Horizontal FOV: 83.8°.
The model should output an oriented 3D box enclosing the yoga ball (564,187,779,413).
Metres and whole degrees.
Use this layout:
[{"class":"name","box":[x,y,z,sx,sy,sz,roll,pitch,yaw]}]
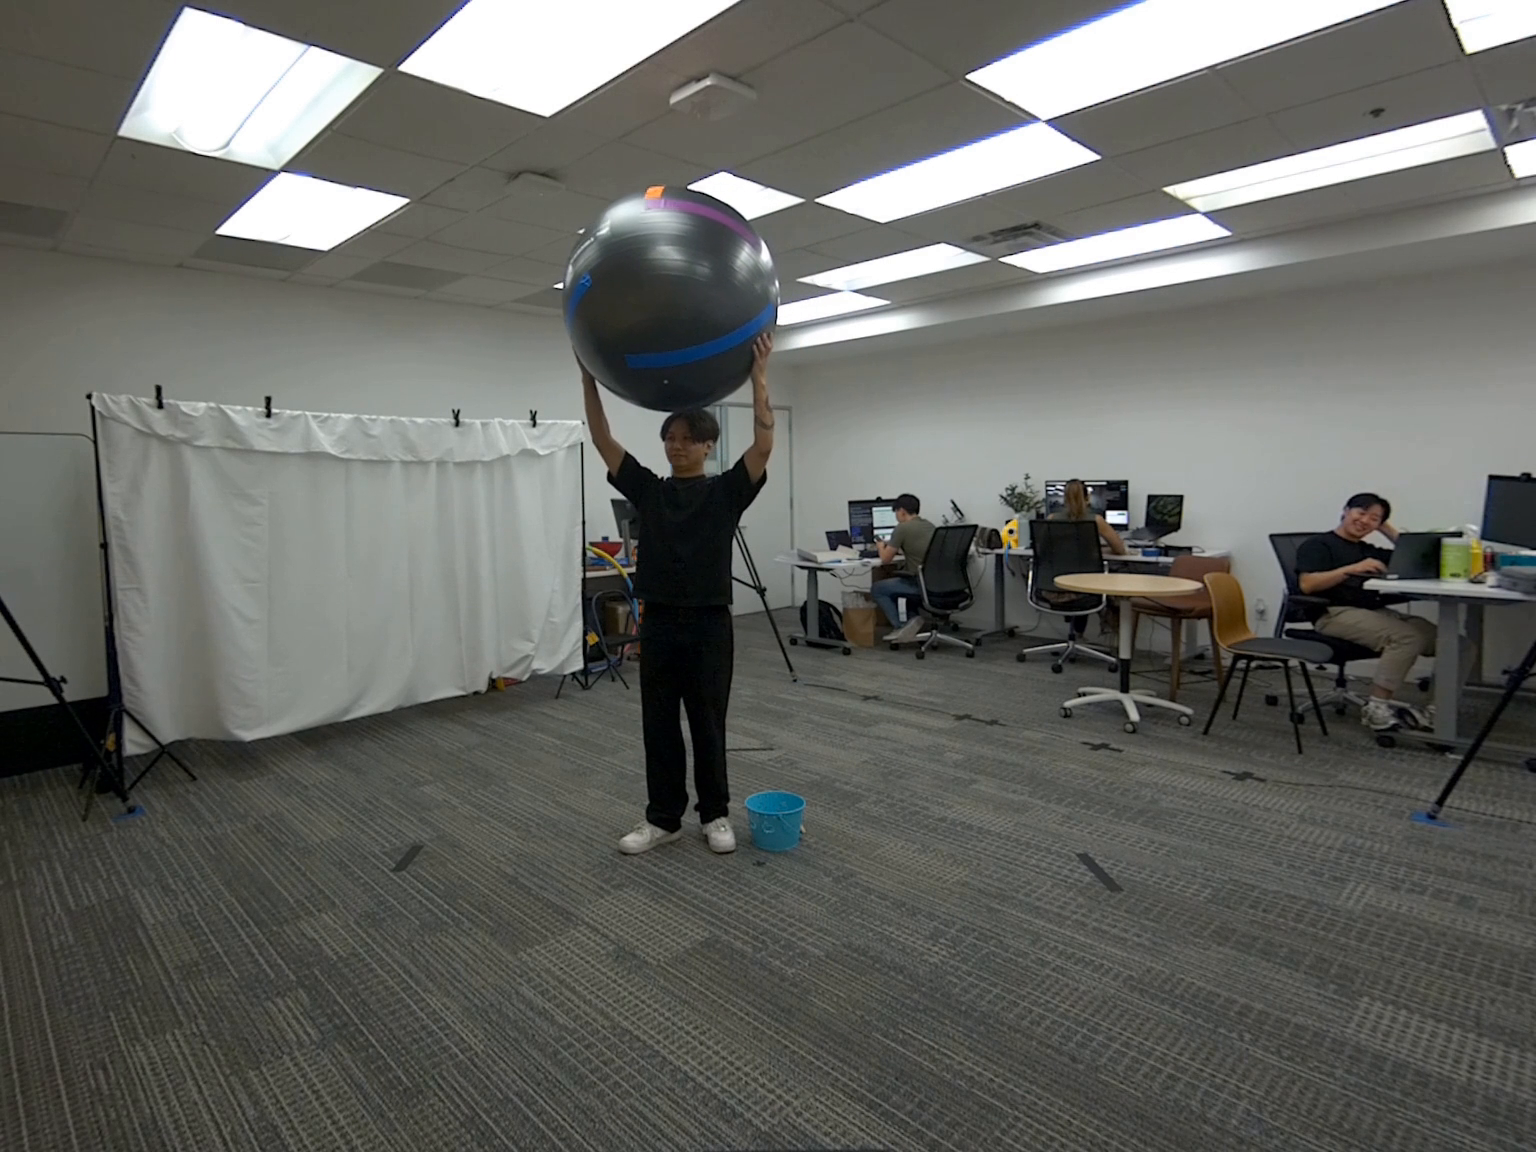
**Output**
[{"class":"yoga ball","box":[-0.342,-0.955,2.997,0.757,0.755,0.762,-1,5,-2]}]
